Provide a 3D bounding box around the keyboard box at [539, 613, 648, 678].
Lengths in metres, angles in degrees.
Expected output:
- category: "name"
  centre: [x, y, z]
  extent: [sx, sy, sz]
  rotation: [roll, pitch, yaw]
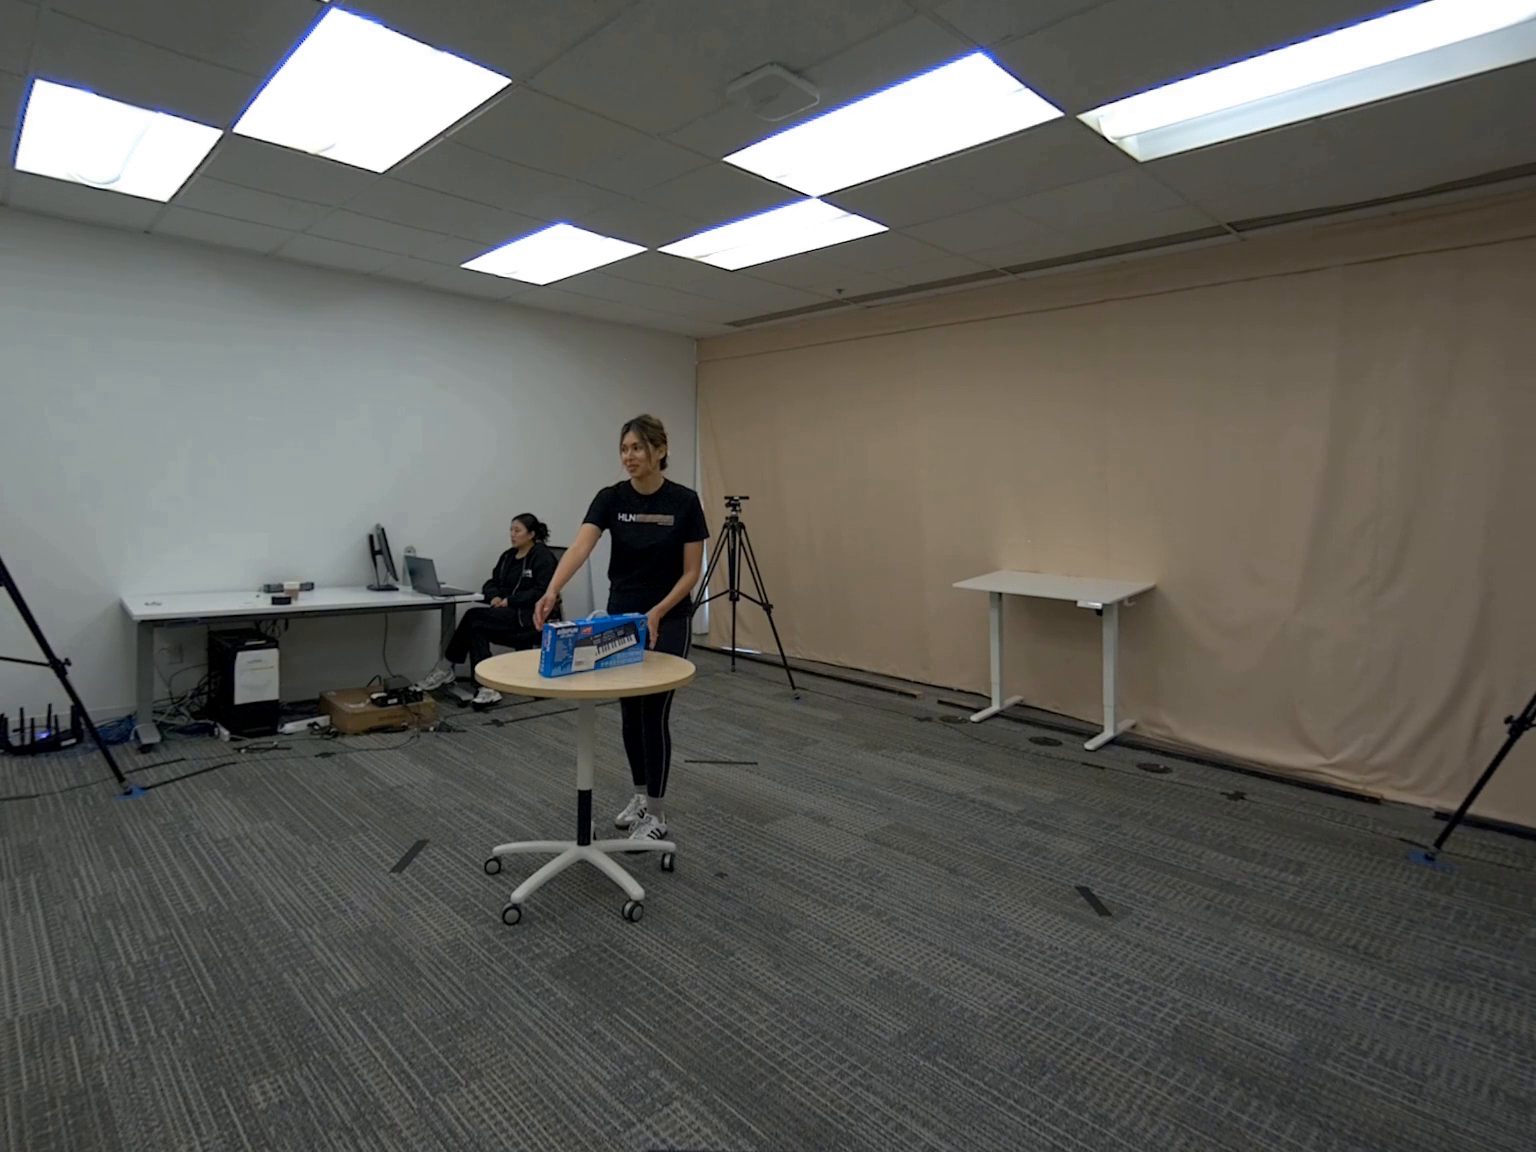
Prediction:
- category: "keyboard box"
  centre: [-0.611, 0.240, 2.930]
  extent: [0.061, 0.175, 0.427]
  rotation: [12, 10, 35]
